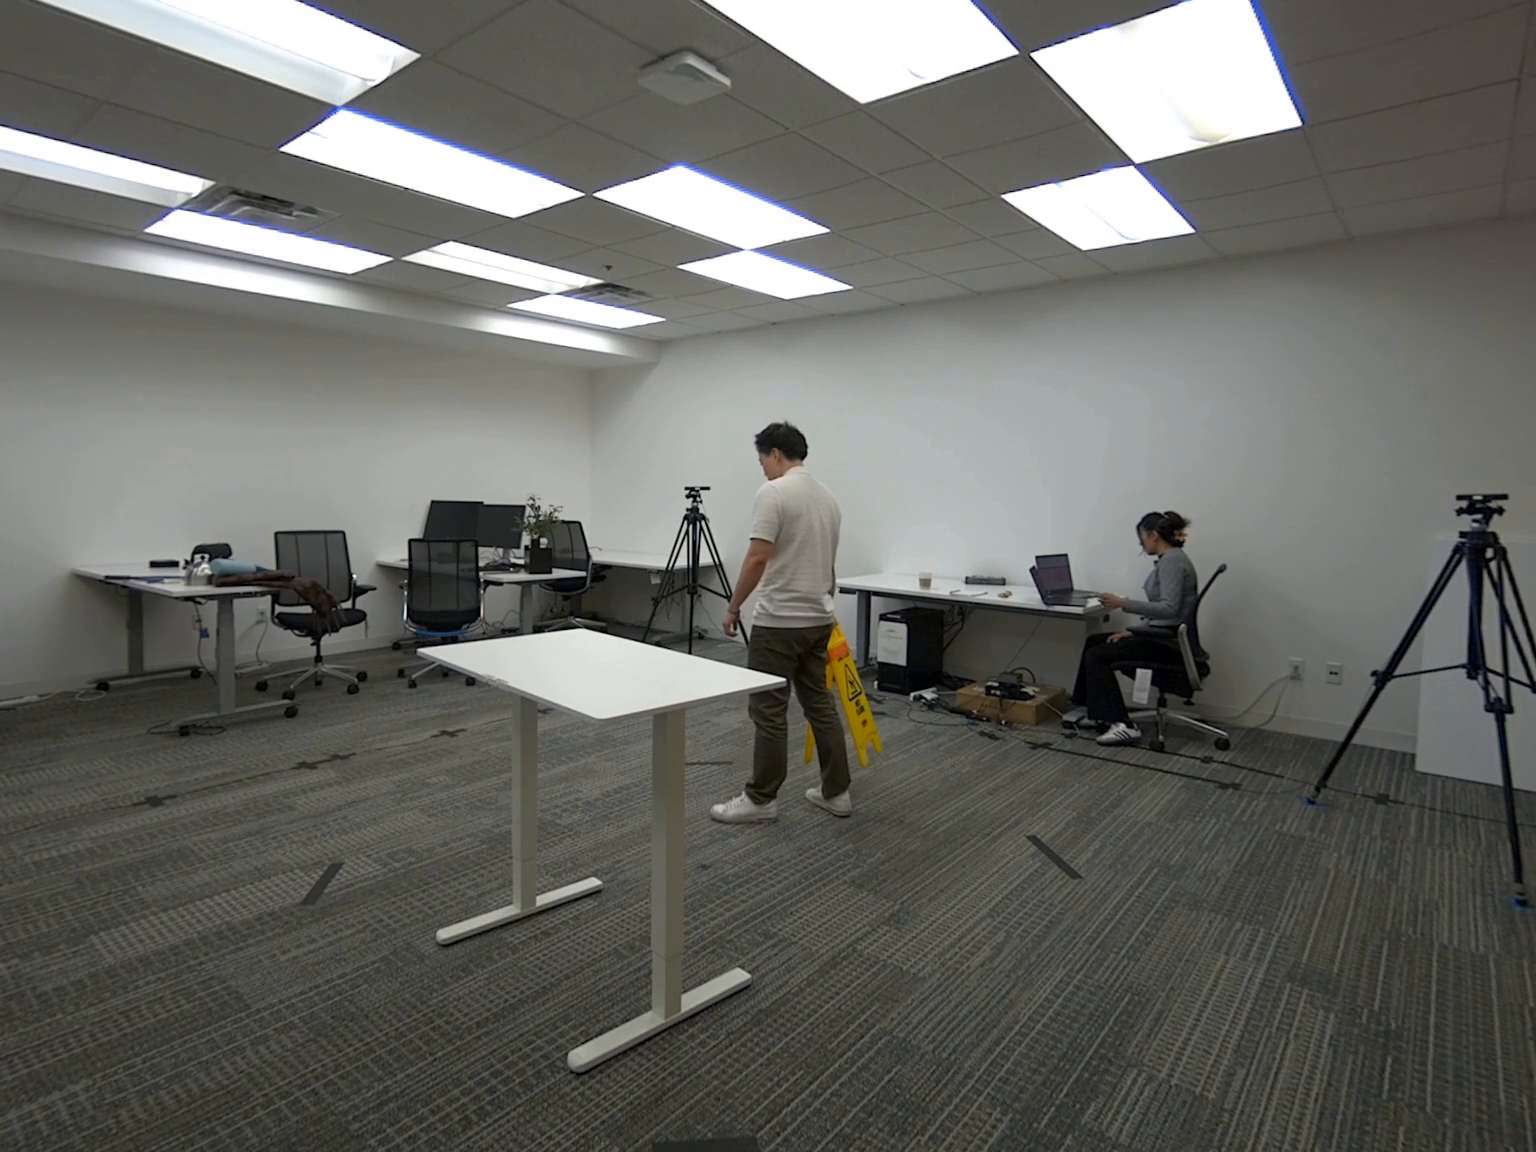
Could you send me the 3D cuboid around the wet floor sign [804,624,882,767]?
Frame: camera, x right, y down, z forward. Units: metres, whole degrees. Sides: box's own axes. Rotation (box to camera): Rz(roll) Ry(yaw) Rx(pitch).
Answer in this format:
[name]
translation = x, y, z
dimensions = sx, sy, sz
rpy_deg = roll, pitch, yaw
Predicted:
[wet floor sign]
translation = 0.308, 0.518, 3.954
dimensions = 0.297, 0.644, 0.276
rpy_deg = -5, 3, 27
